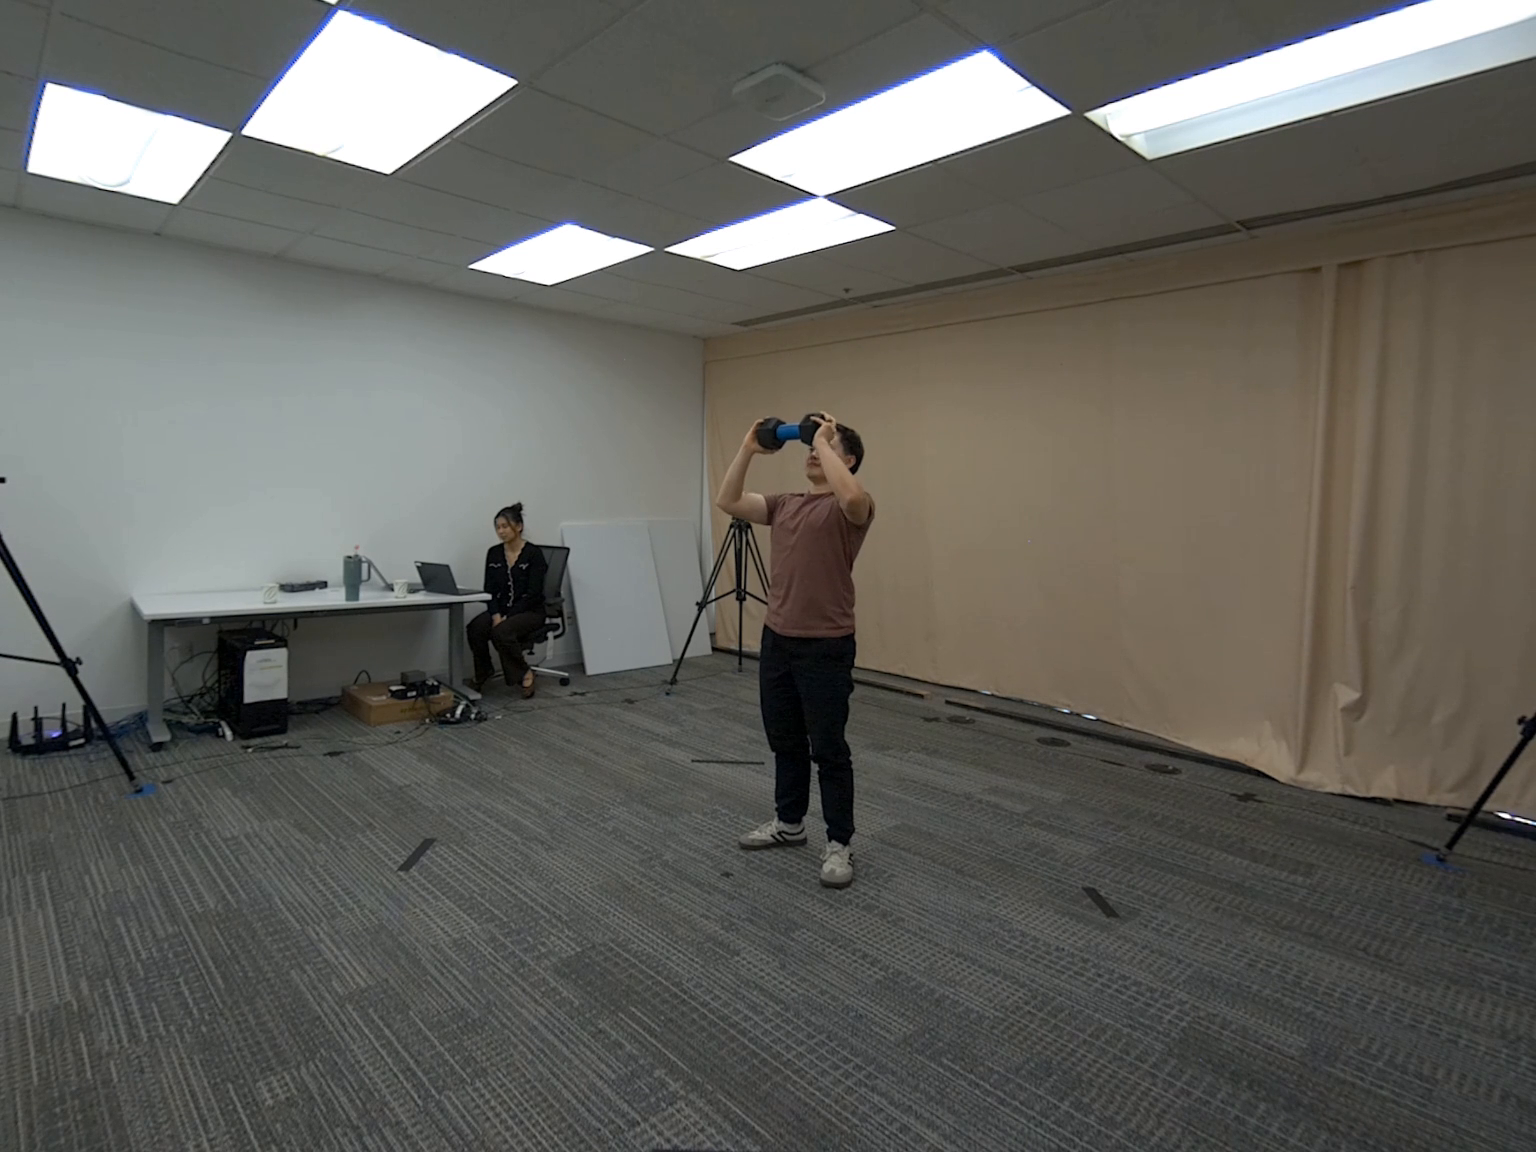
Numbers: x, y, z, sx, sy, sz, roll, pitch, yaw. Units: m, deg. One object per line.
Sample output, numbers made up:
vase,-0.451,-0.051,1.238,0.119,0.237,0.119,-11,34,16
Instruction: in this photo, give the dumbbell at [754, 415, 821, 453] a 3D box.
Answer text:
dumbbell,0.089,-0.532,3.105,0.301,0.123,0.105,4,-41,44
